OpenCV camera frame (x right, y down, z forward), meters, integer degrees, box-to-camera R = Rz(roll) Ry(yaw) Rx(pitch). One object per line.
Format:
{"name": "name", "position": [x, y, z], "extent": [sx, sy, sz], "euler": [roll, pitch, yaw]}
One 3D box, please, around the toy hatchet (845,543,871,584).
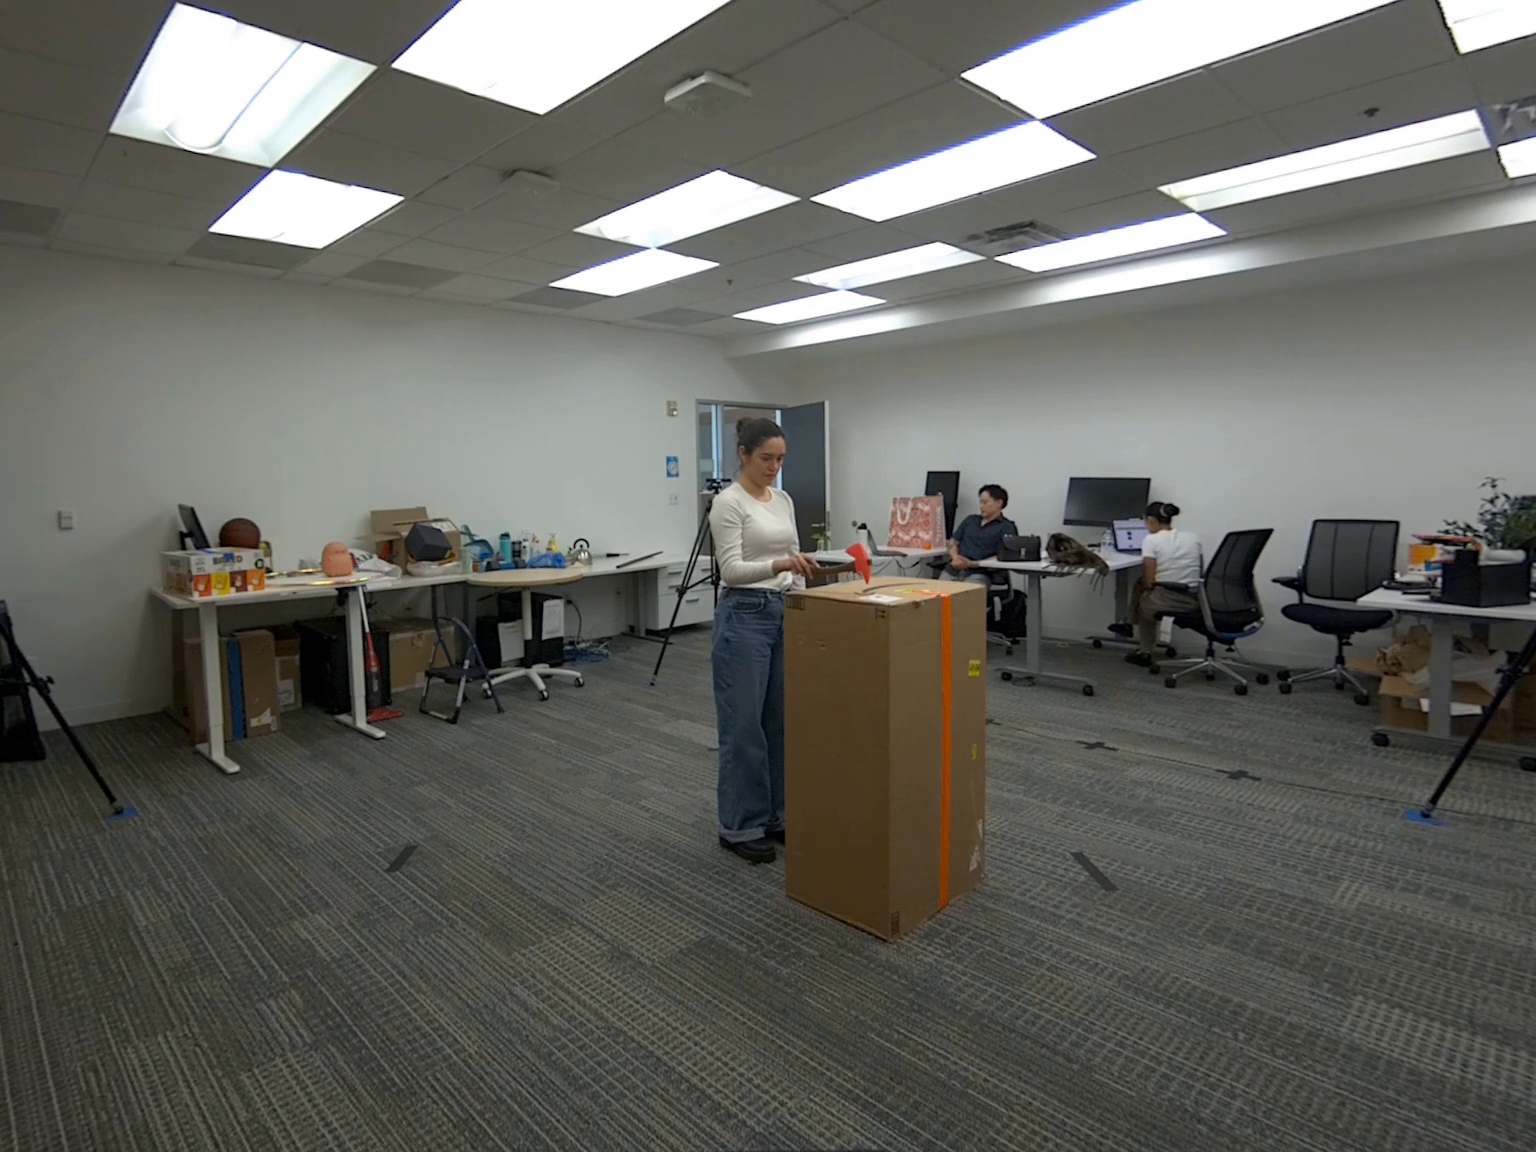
{"name": "toy hatchet", "position": [0.219, -0.051, 2.794], "extent": [0.278, 0.130, 0.029], "euler": [9, 12, 33]}
